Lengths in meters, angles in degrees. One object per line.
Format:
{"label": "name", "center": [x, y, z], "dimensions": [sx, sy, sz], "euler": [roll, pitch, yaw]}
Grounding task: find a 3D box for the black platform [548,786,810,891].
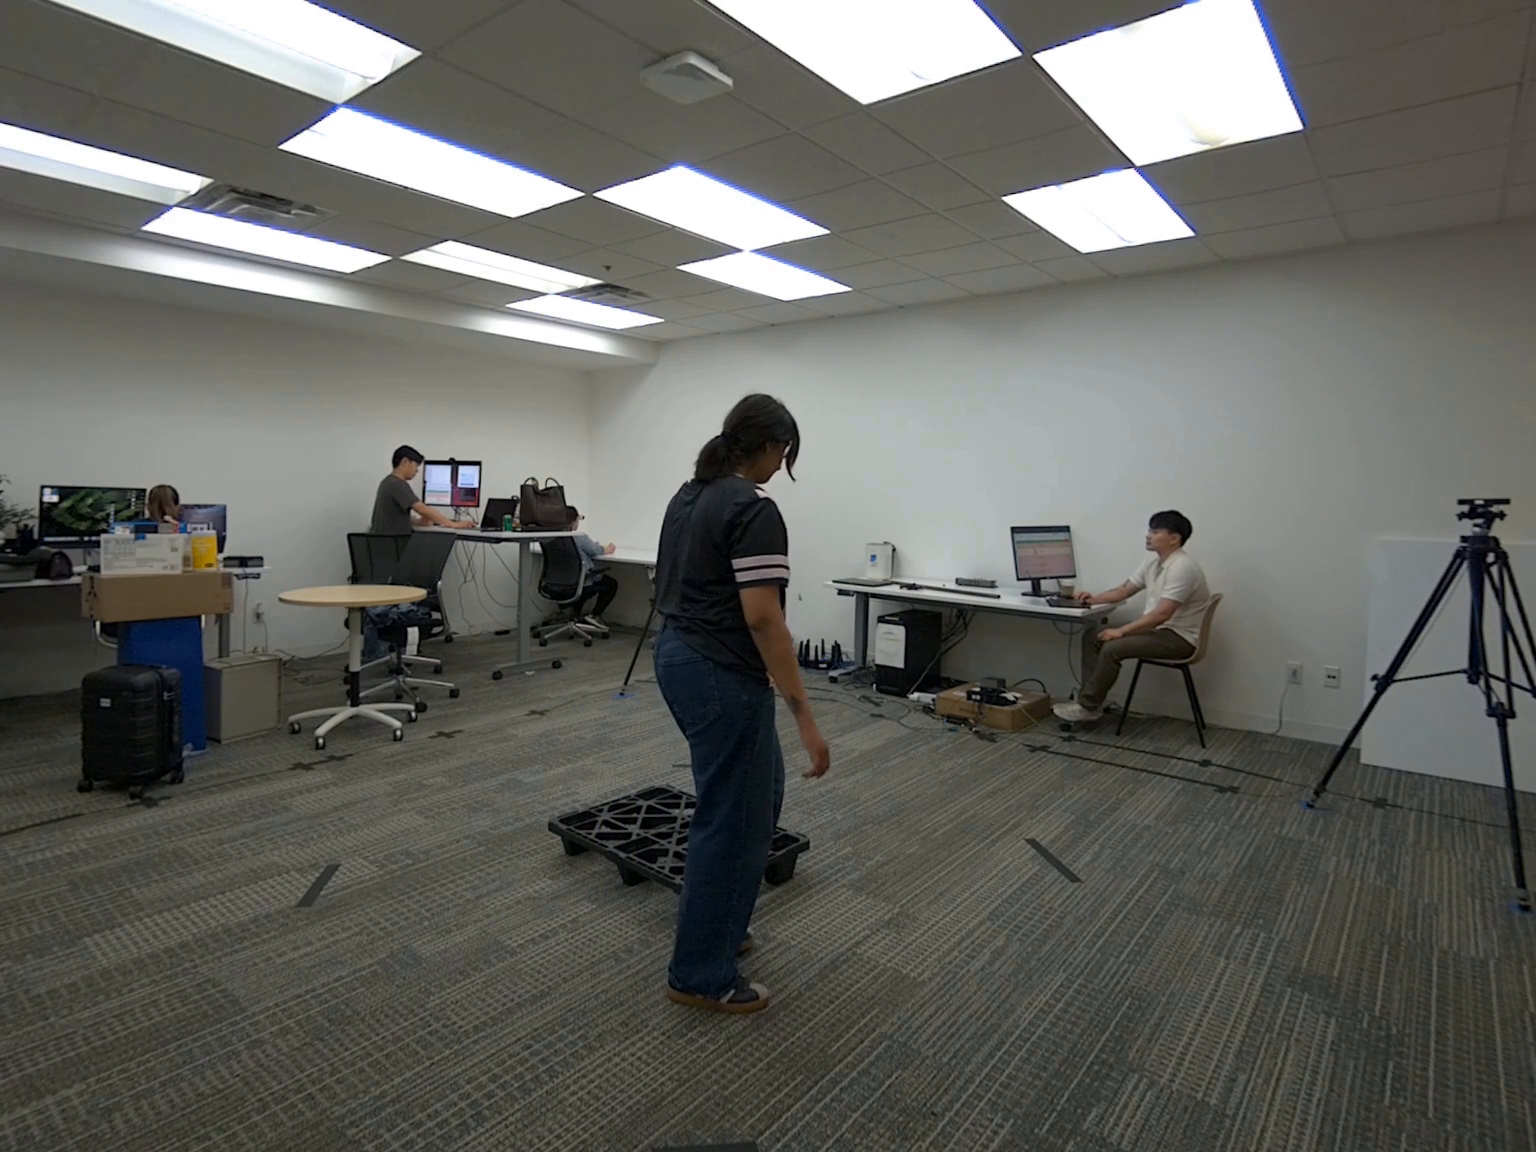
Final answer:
{"label": "black platform", "center": [-0.350, 0.998, 3.145], "dimensions": [0.833, 0.143, 0.587], "euler": [6, 7, 42]}
